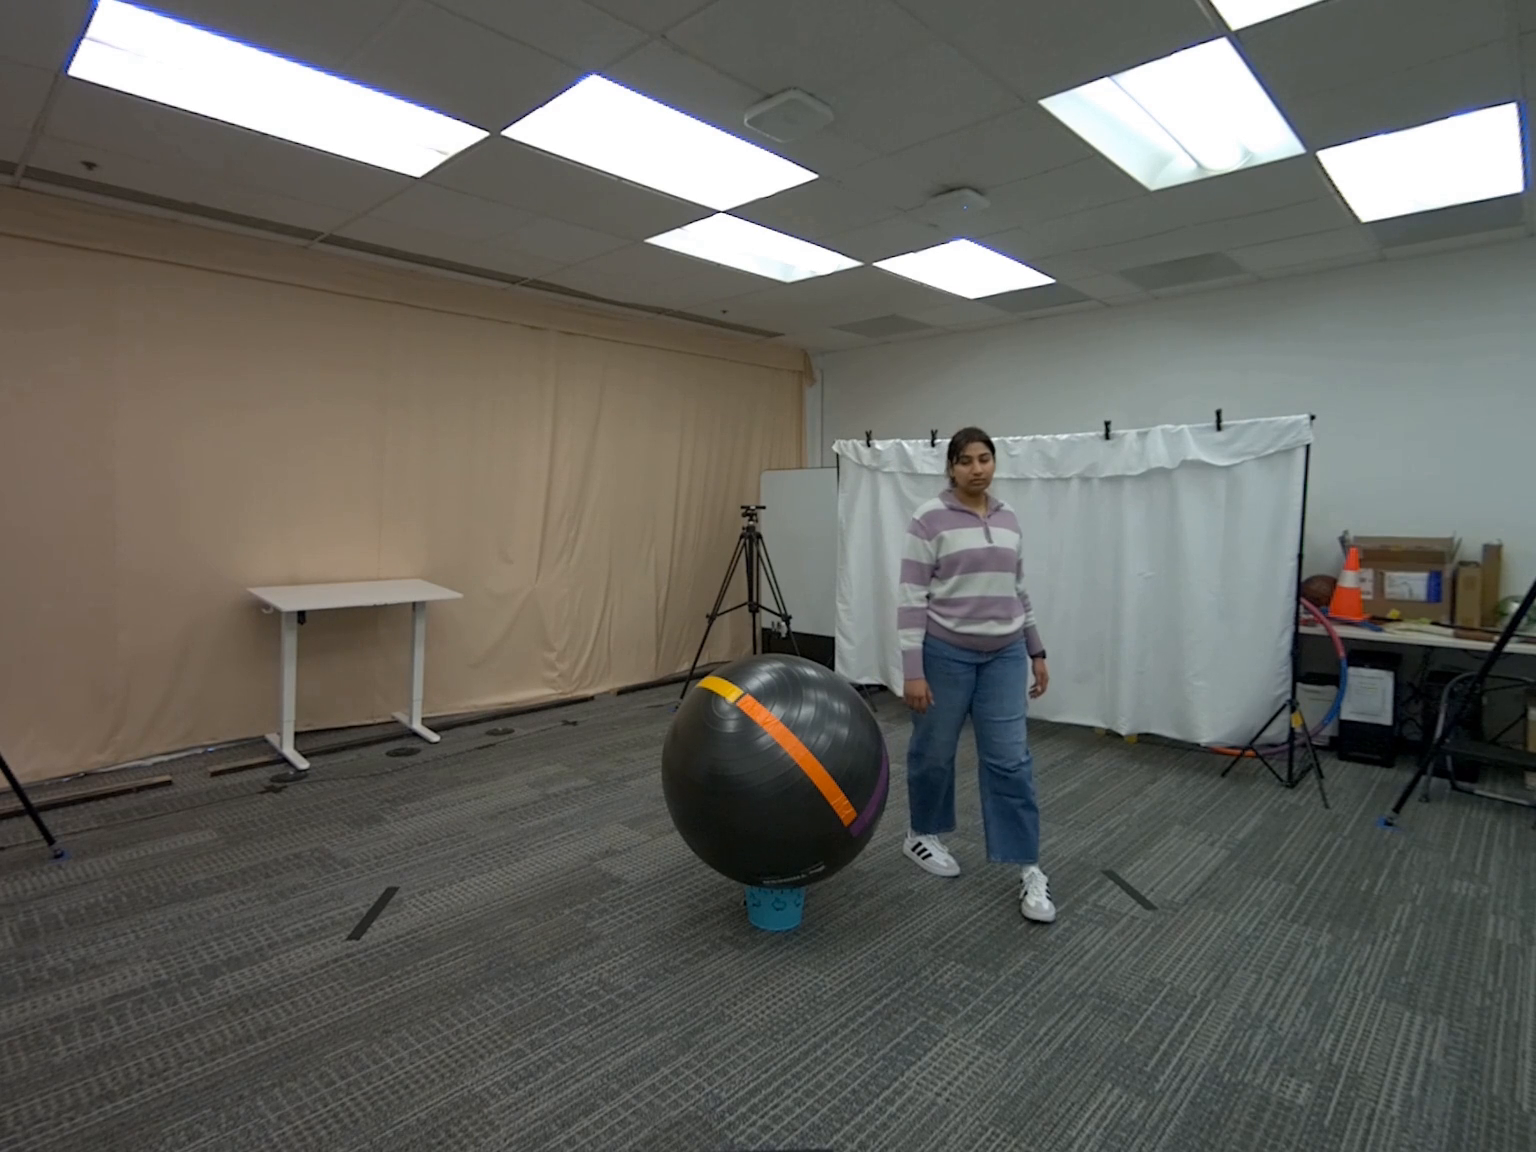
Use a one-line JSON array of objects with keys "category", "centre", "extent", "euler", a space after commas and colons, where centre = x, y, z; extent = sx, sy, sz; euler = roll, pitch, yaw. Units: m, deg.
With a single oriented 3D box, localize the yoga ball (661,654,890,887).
[{"category": "yoga ball", "centre": [0.020, 0.647, 2.827], "extent": [0.757, 0.756, 0.760], "euler": [0, 4, -2]}]
